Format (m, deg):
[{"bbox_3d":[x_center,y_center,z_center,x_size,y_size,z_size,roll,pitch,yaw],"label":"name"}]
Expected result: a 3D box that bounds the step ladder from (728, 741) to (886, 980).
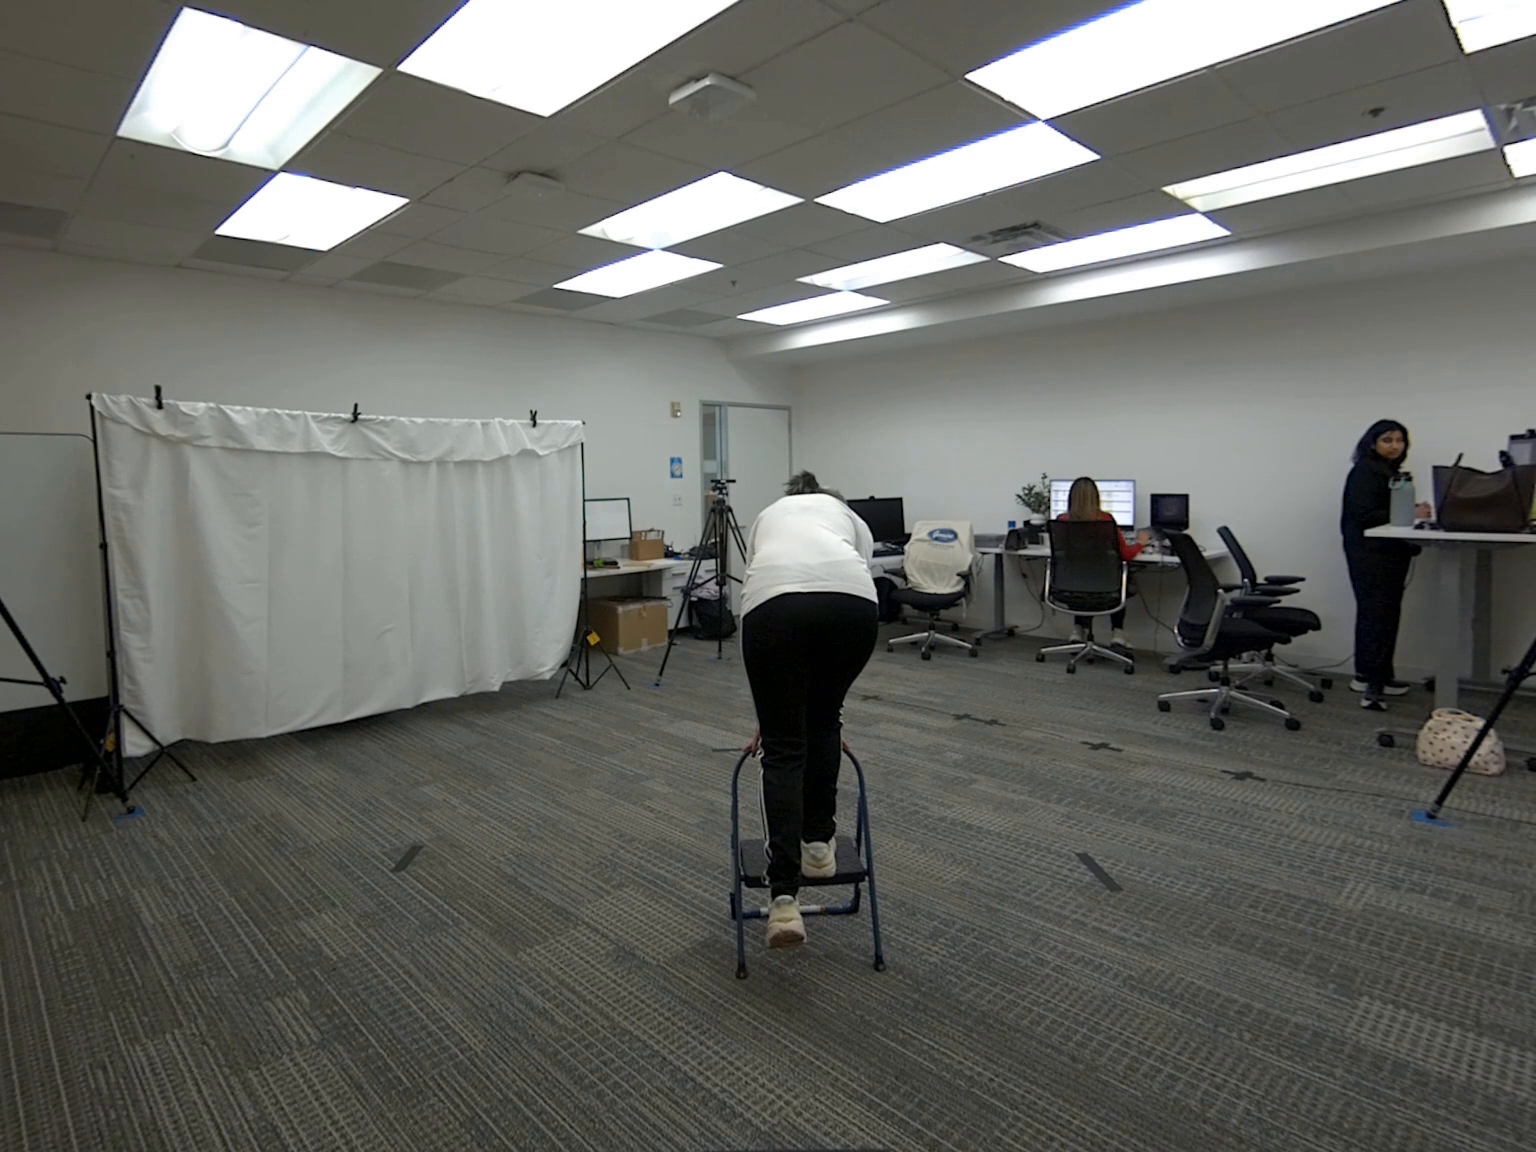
[{"bbox_3d":[0.102,0.810,2.565,0.429,0.603,0.352,-2,5,-5],"label":"step ladder"}]
